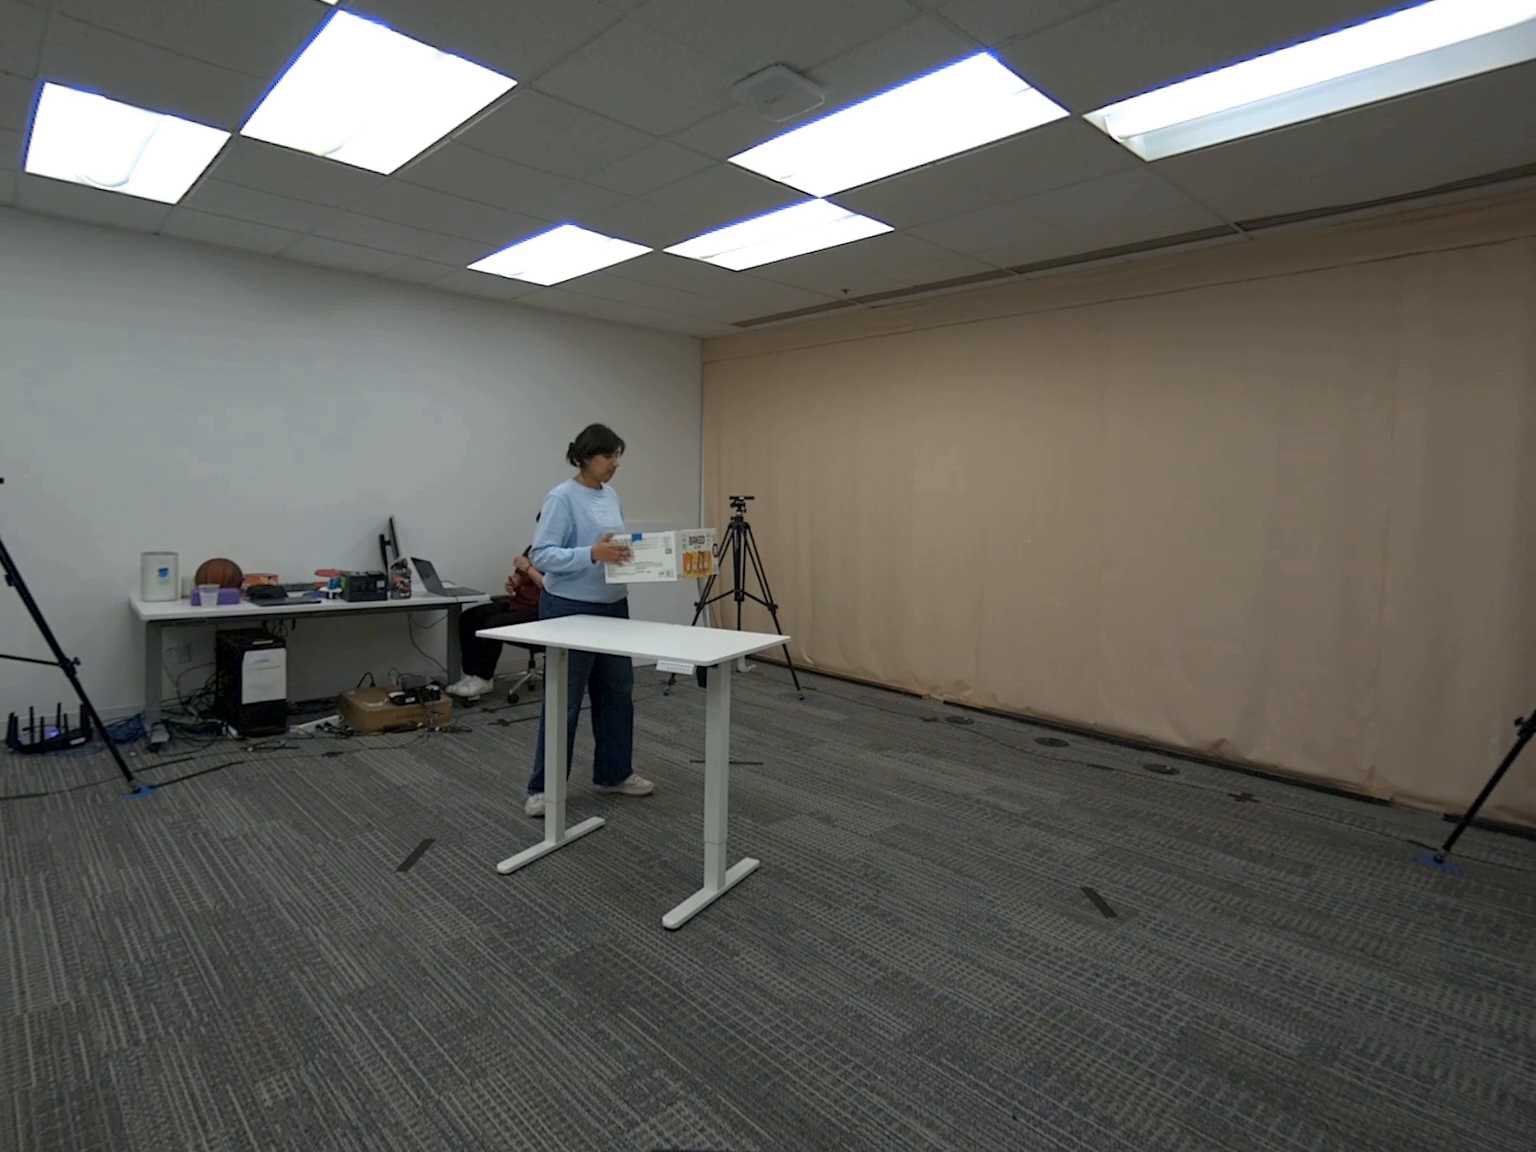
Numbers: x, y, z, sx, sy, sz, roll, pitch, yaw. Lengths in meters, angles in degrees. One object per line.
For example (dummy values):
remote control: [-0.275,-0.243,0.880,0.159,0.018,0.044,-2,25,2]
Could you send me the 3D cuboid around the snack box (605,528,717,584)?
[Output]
snack box: [-0.460,-0.090,3.623,0.346,0.205,0.399,-1,3,23]
